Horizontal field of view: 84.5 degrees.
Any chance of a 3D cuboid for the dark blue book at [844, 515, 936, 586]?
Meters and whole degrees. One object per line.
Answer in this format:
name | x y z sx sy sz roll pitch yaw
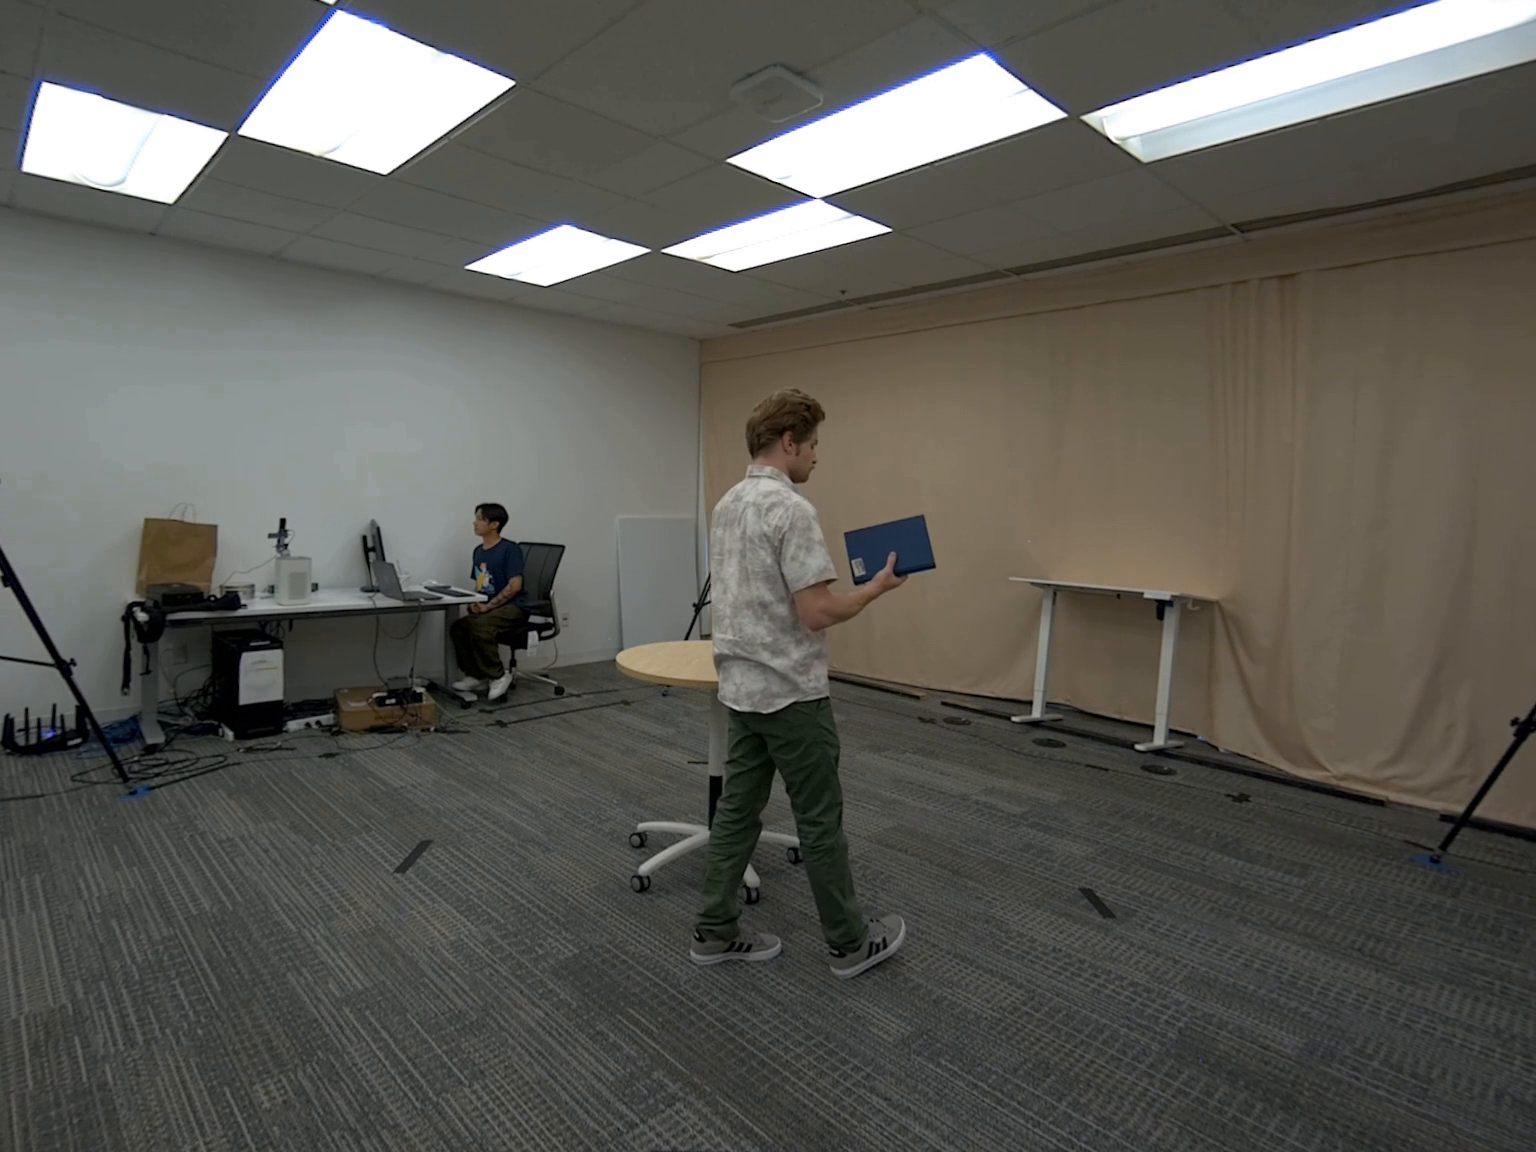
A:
dark blue book | 0.356 -0.079 2.506 0.247 0.166 0.044 -13 -19 11
